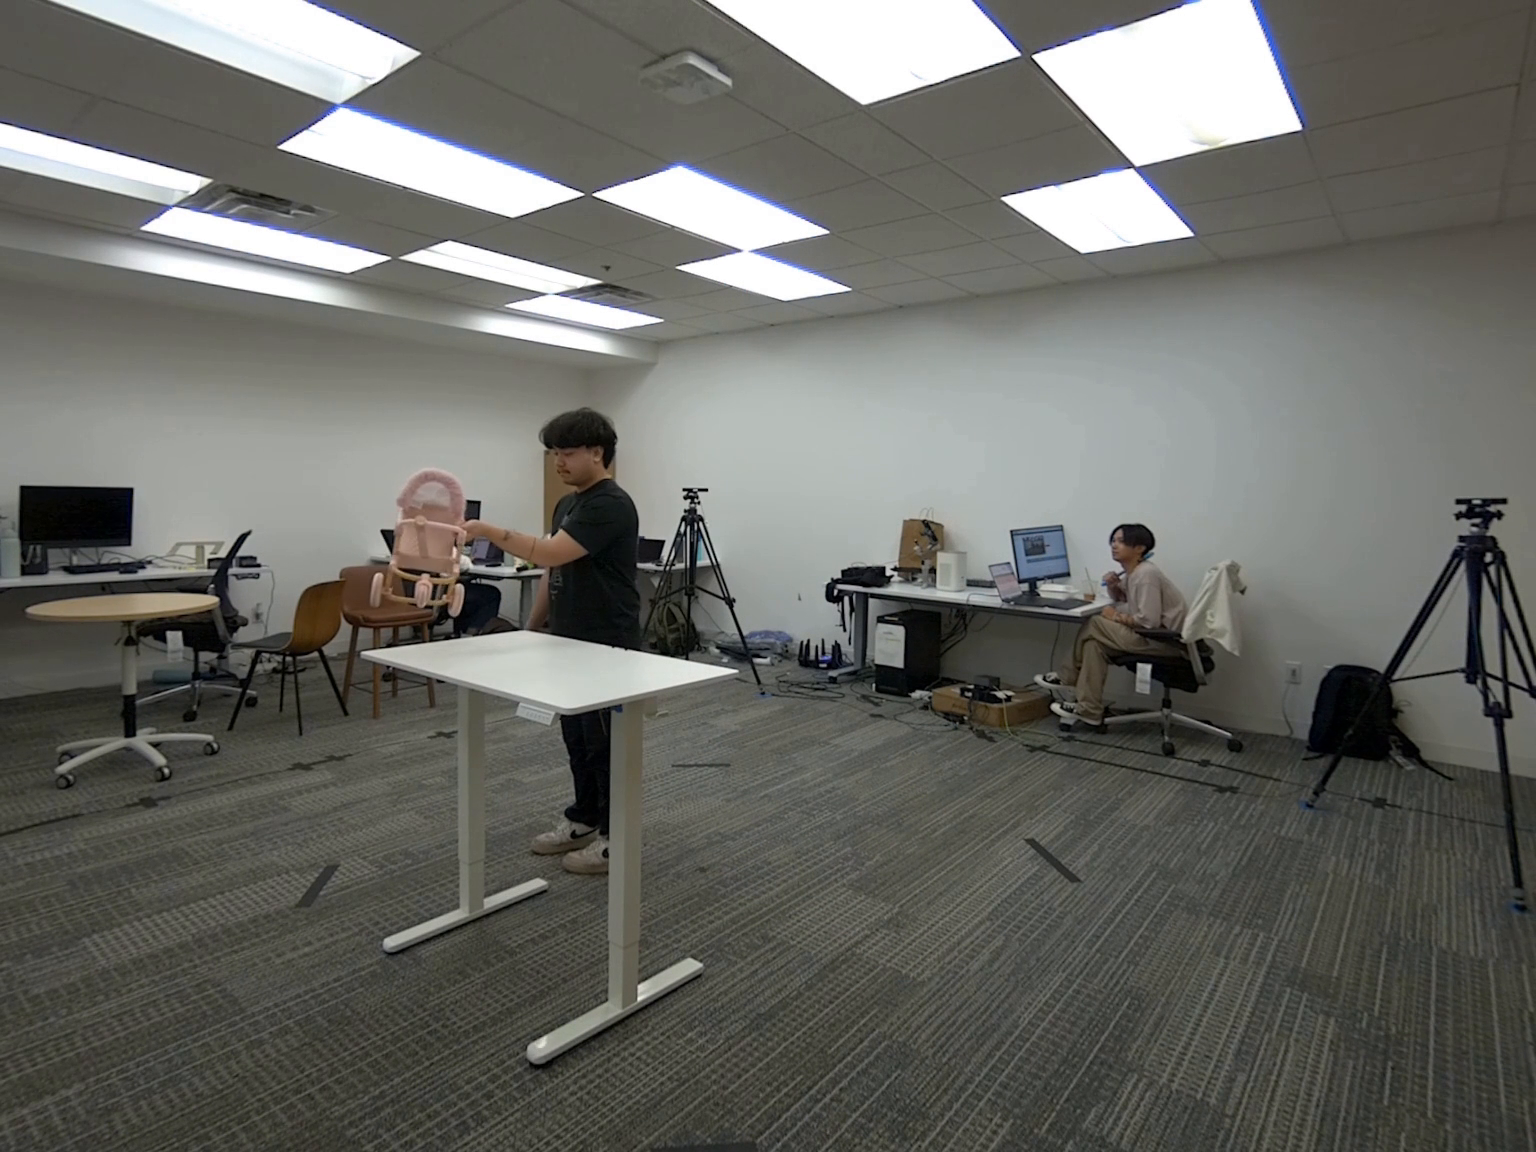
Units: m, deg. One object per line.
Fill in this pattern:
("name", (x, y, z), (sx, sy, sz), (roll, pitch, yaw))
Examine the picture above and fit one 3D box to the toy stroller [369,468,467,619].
("toy stroller", (-1.107, -0.119, 2.741), (0.275, 0.546, 0.342), (7, -24, -21))
